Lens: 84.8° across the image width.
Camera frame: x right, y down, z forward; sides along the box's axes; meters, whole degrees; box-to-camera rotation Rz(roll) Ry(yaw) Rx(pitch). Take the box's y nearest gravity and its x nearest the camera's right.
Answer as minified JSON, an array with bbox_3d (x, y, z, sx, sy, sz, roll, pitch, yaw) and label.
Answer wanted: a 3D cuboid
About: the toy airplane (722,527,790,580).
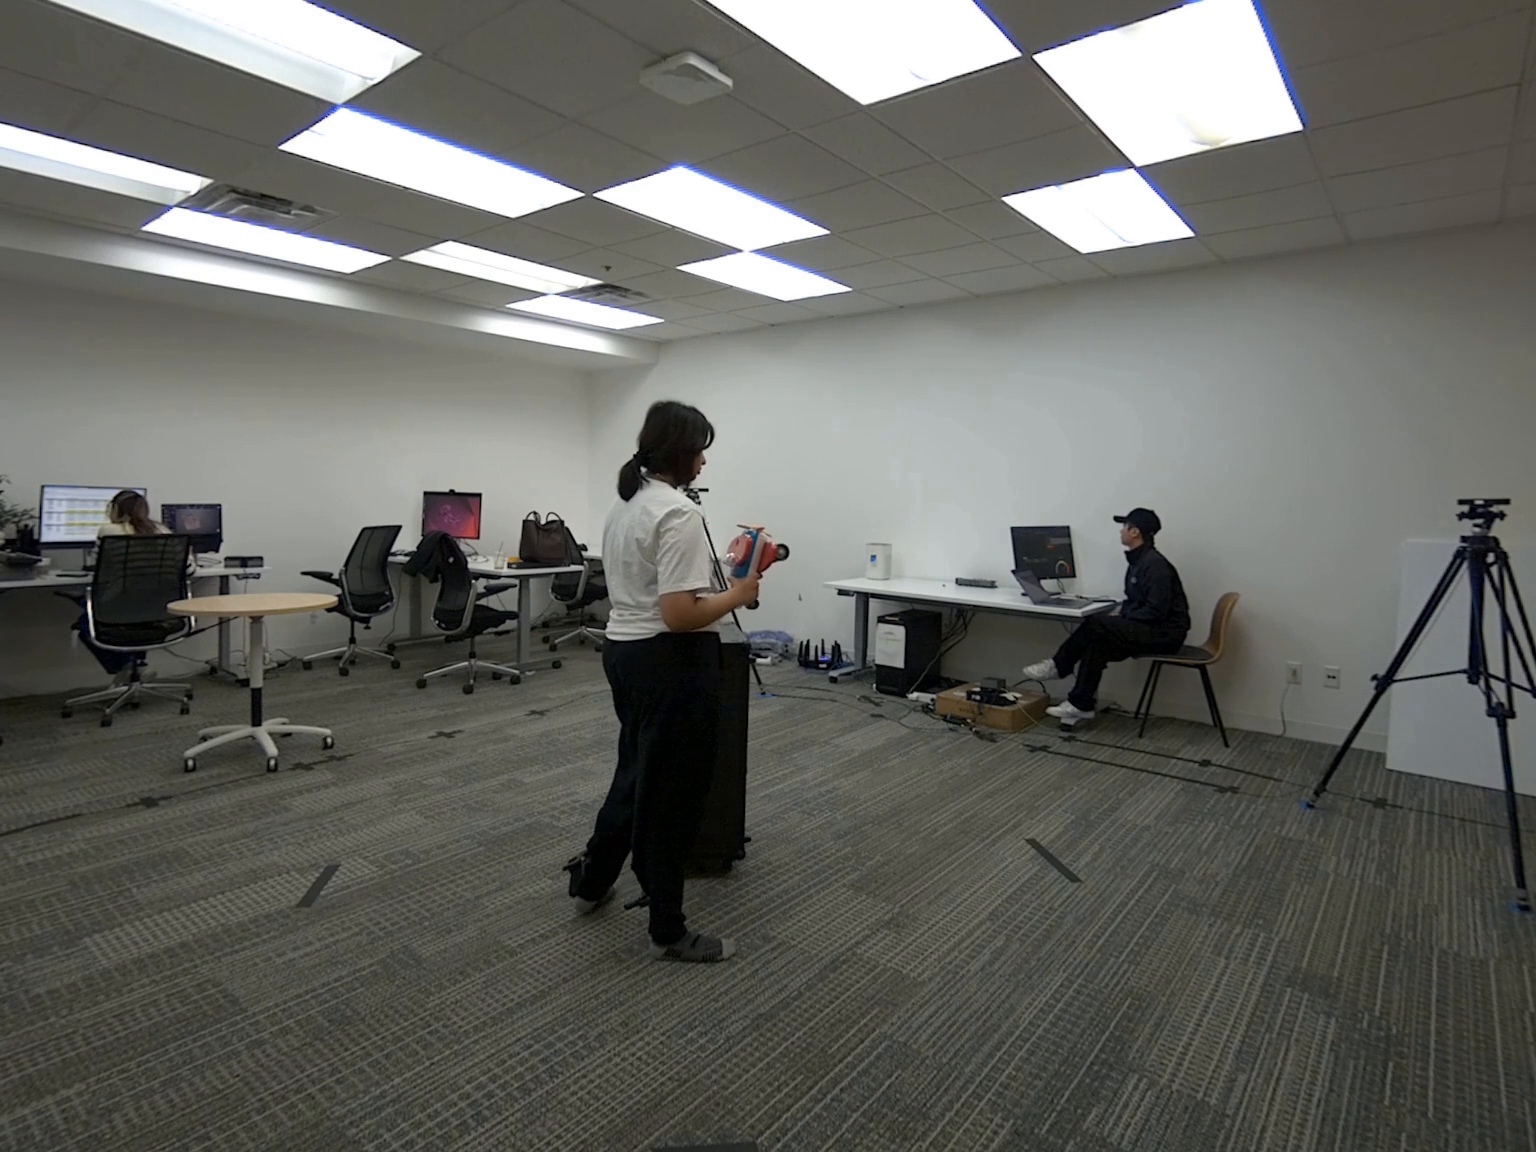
[{"bbox_3d":[-0.056,-0.030,2.601,0.155,0.262,0.251,31,-38,-10],"label":"toy airplane"}]
